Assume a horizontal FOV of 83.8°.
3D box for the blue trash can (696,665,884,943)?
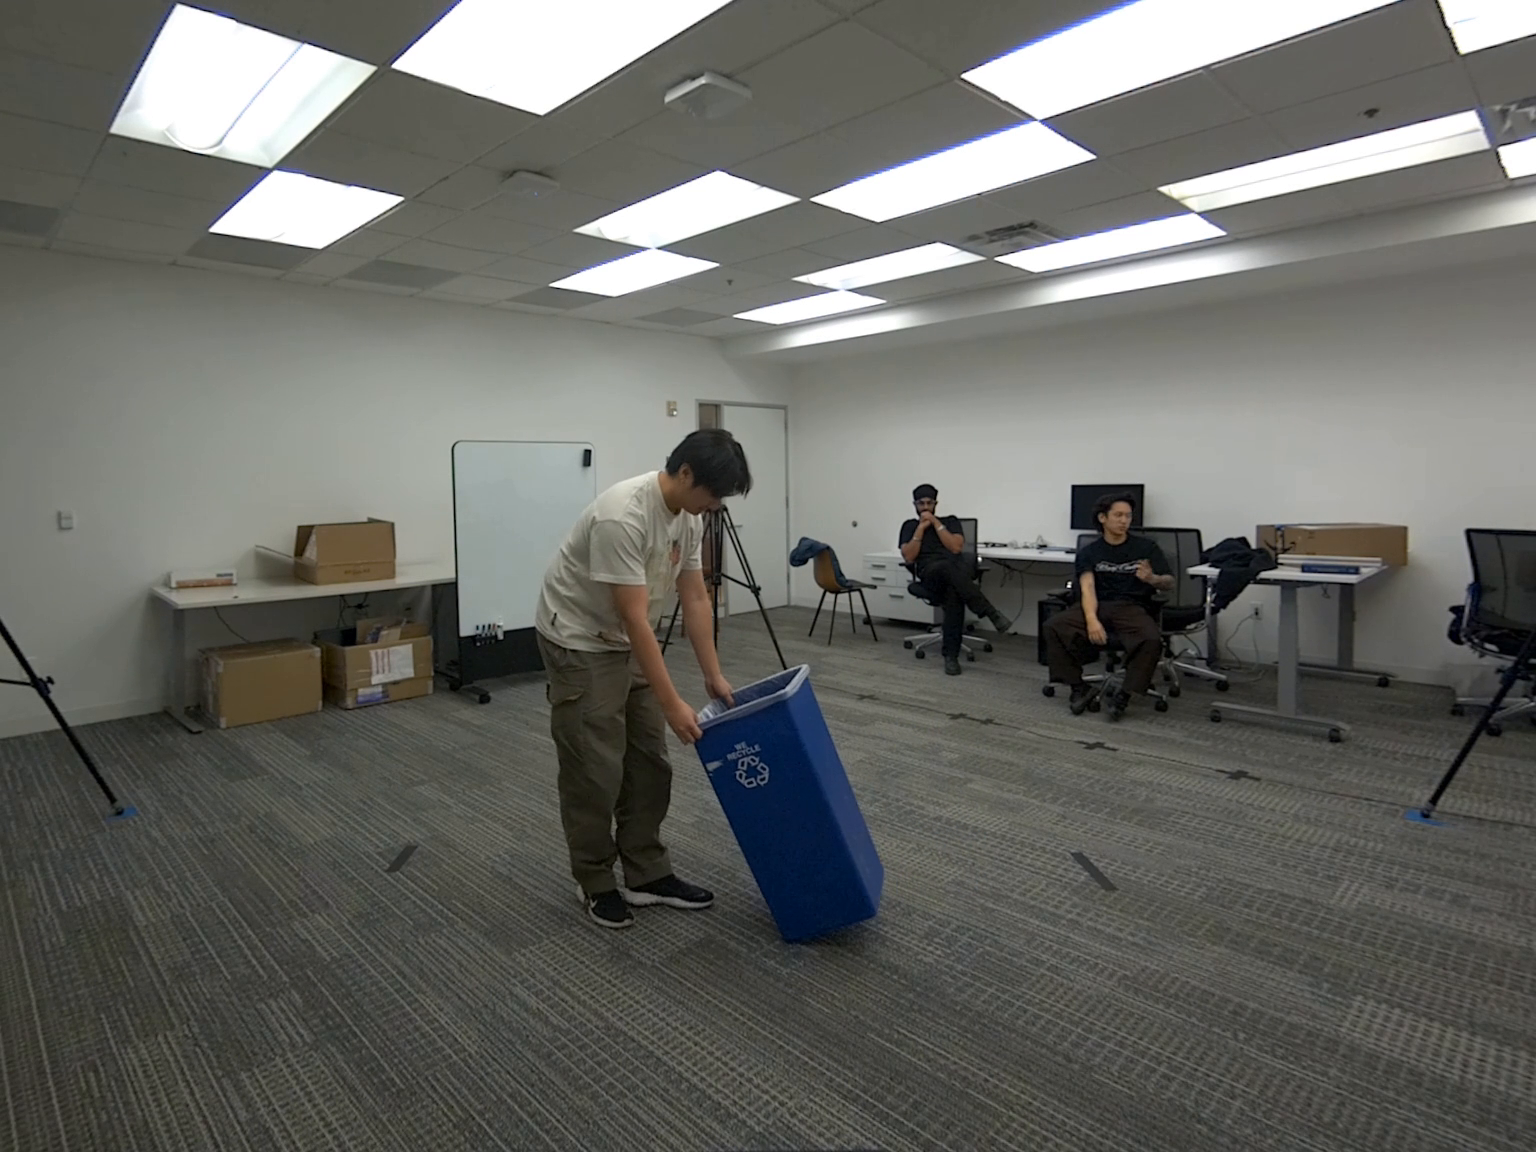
[{"bbox_3d":[0.079,0.702,2.678,0.377,0.716,0.374,-25,-2,16],"label":"blue trash can"}]
